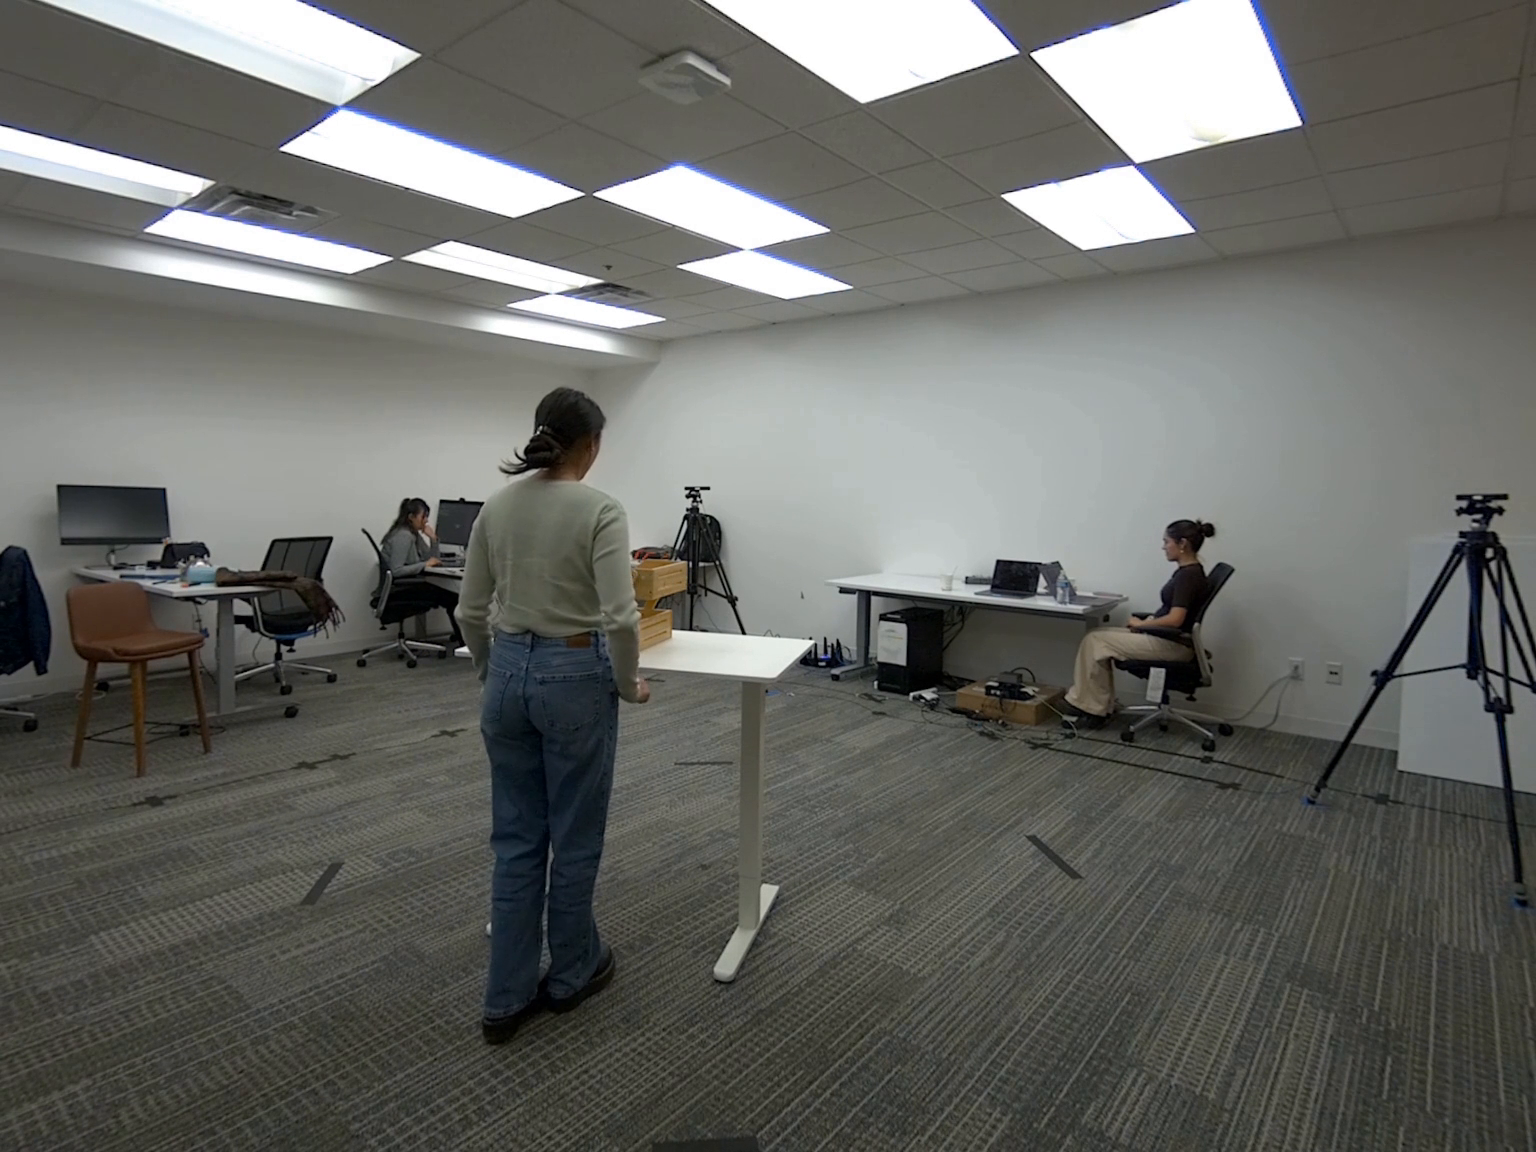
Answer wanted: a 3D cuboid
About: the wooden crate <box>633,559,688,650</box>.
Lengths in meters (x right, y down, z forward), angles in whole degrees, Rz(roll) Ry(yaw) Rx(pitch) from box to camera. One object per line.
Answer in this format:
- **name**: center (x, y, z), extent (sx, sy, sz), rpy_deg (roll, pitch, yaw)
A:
- **wooden crate**: center (-0.467, 0.078, 2.767), extent (0.307, 0.272, 0.320), rpy_deg (3, 5, 15)
